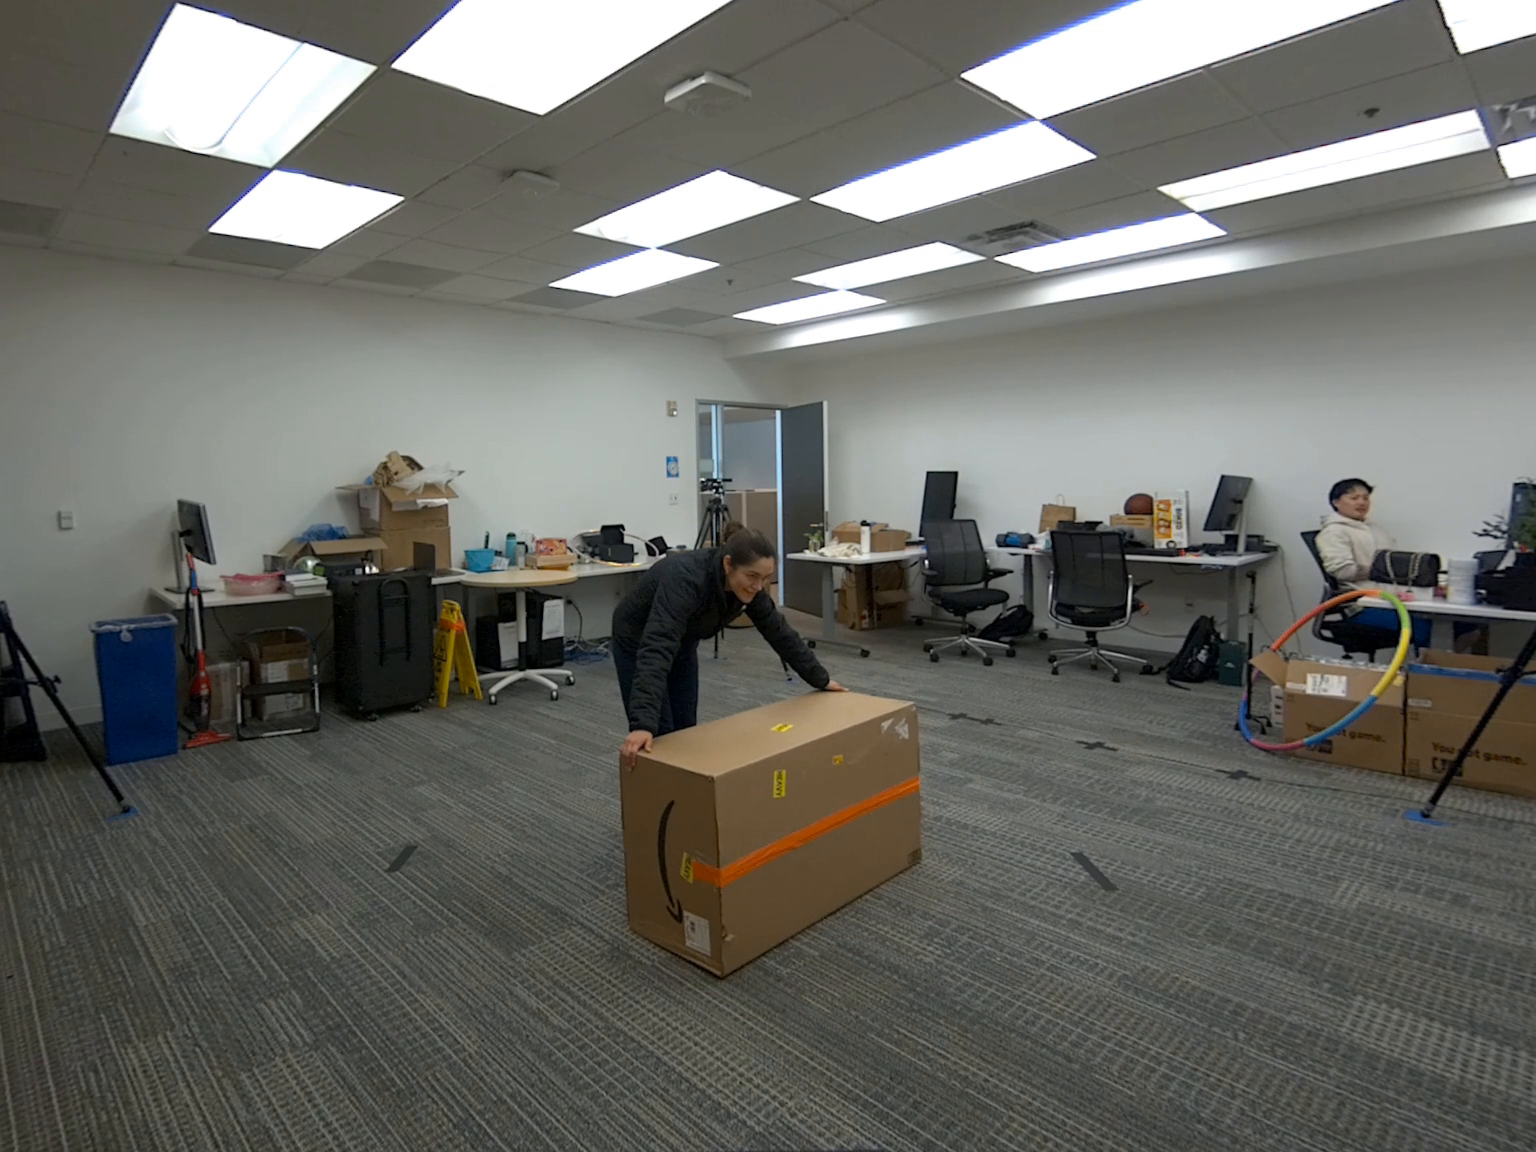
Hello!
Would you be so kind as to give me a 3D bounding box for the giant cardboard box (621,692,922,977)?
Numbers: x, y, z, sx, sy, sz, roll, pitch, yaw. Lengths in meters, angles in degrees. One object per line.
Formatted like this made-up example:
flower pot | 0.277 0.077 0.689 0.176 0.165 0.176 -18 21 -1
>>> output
giant cardboard box | 0.047 0.780 2.873 0.460 0.582 1.001 2 7 43
